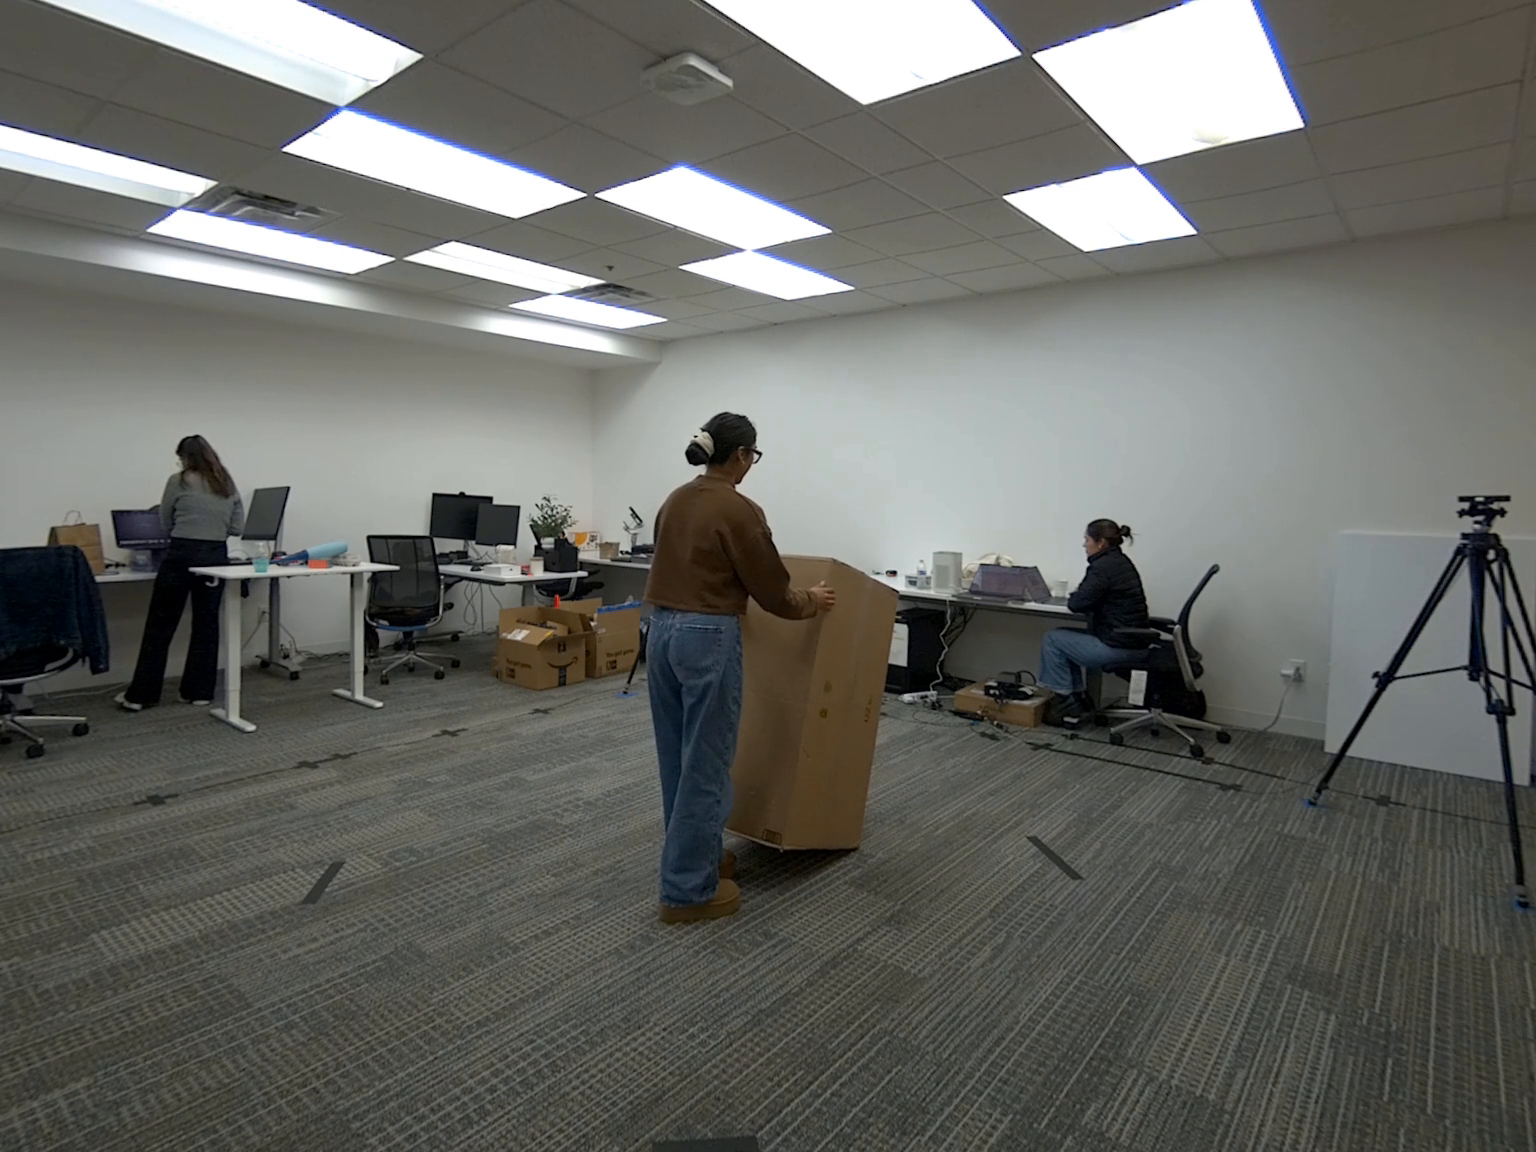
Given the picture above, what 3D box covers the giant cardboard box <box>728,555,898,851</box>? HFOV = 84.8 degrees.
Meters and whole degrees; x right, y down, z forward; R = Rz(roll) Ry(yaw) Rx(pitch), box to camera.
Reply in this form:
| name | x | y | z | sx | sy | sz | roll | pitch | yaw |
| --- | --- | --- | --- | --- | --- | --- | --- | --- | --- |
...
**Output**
| name | x | y | z | sx | sy | sz | roll | pitch | yaw |
| --- | --- | --- | --- | --- | --- | --- | --- | --- | --- |
| giant cardboard box | 0.117 | 0.482 | 3.321 | 0.440 | 1.034 | 0.555 | 3 | -12 | 37 |
